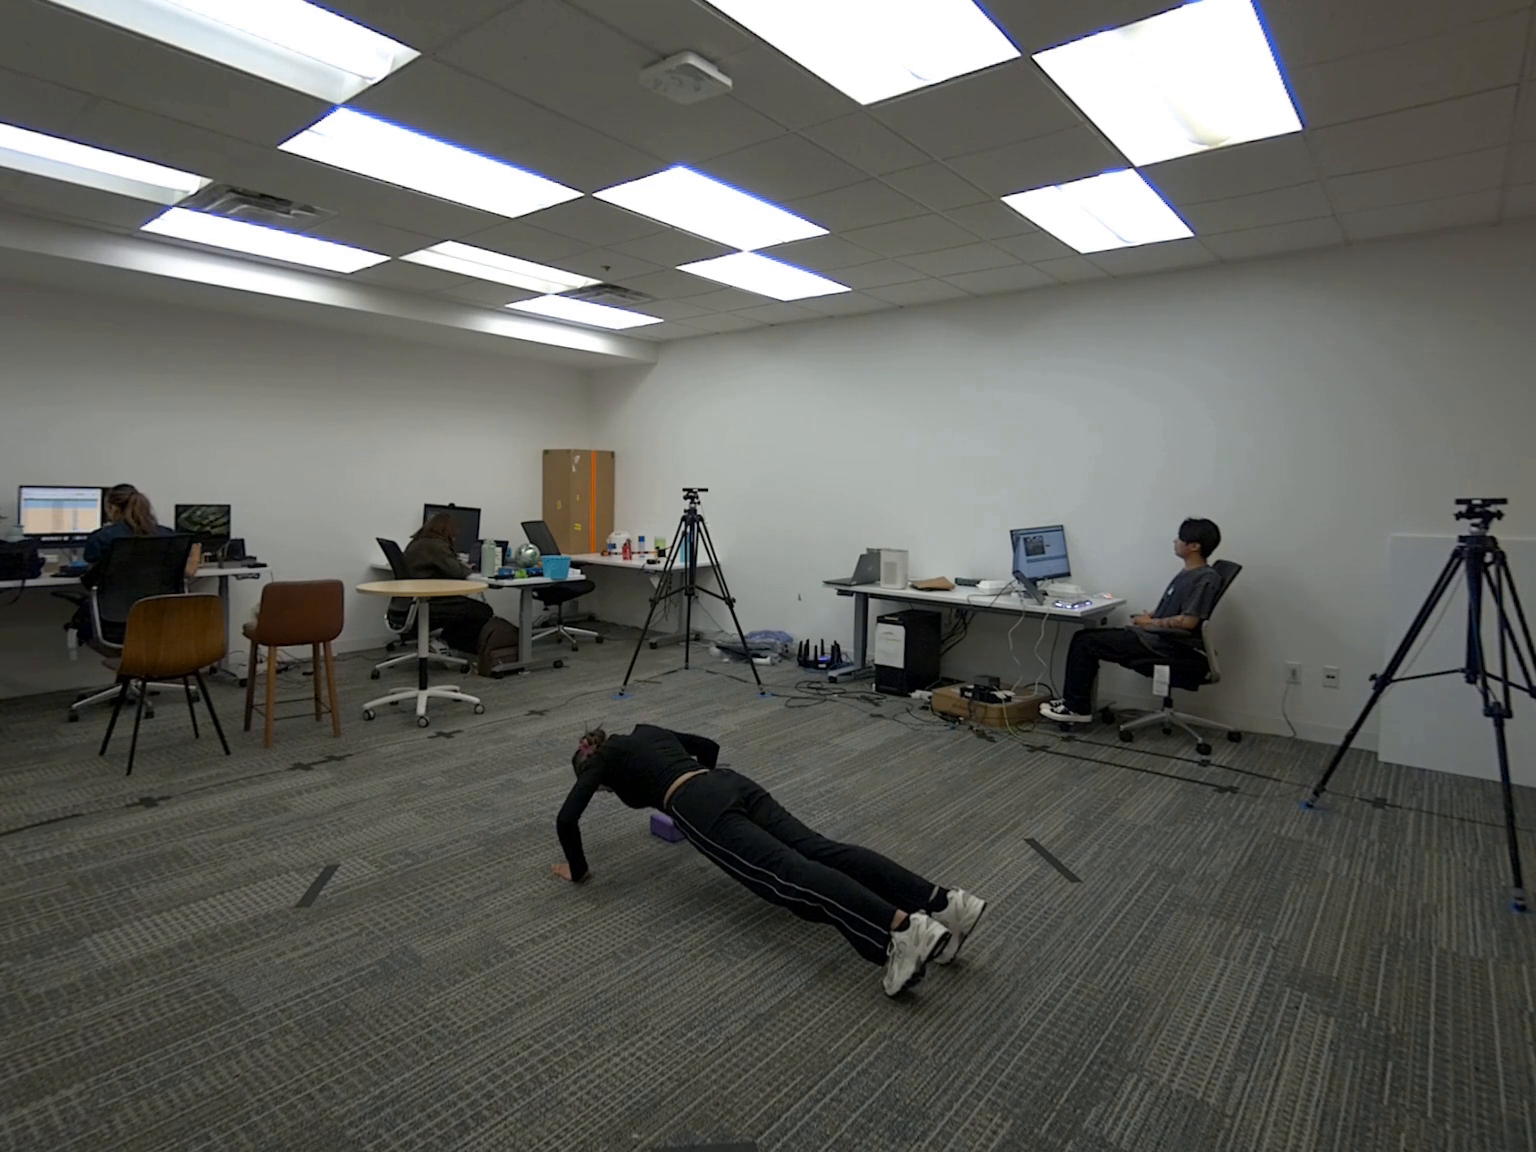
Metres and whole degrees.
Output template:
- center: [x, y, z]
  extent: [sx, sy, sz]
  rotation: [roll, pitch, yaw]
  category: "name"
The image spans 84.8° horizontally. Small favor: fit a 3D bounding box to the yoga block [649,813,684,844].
- center: [-0.356, 0.993, 3.456]
  extent: [0.222, 0.076, 0.154]
  rotation: [-4, 6, -44]
  category: "yoga block"
